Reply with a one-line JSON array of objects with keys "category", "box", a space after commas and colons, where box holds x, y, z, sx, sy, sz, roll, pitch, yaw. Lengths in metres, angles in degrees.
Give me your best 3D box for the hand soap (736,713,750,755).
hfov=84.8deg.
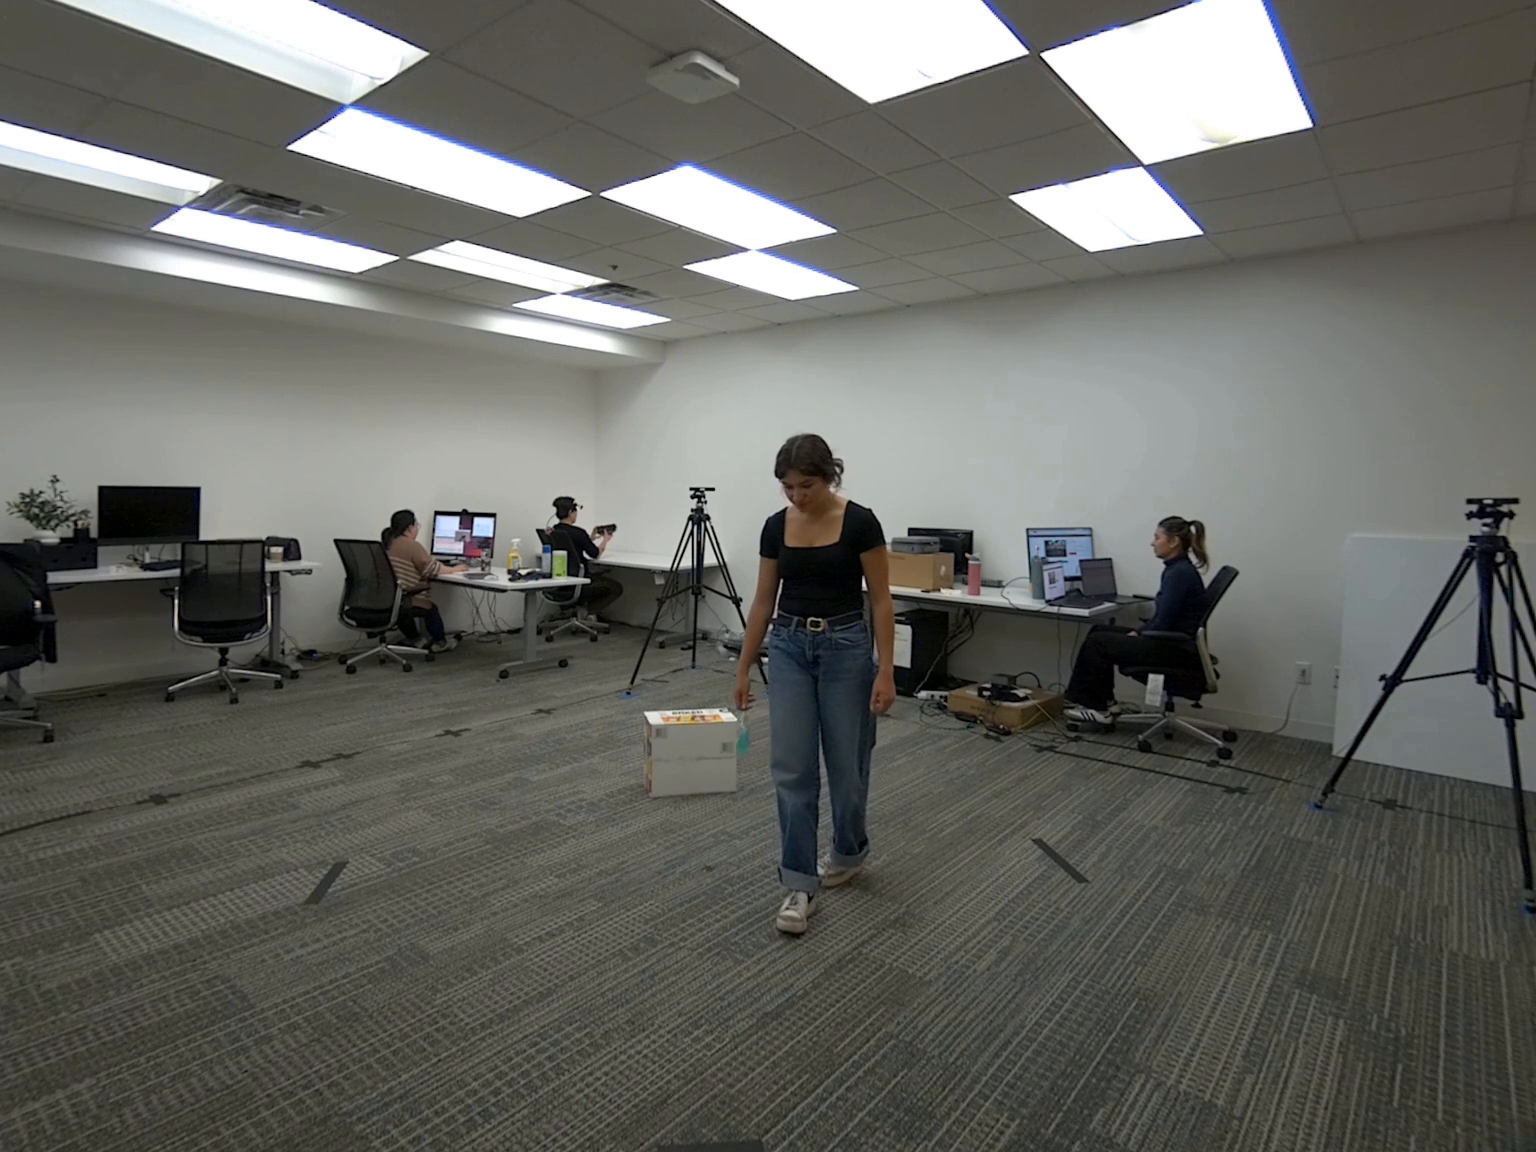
[{"category": "hand soap", "box": [-0.085, 0.503, 2.907, 0.043, 0.168, 0.085, 8, 1, -5]}]
